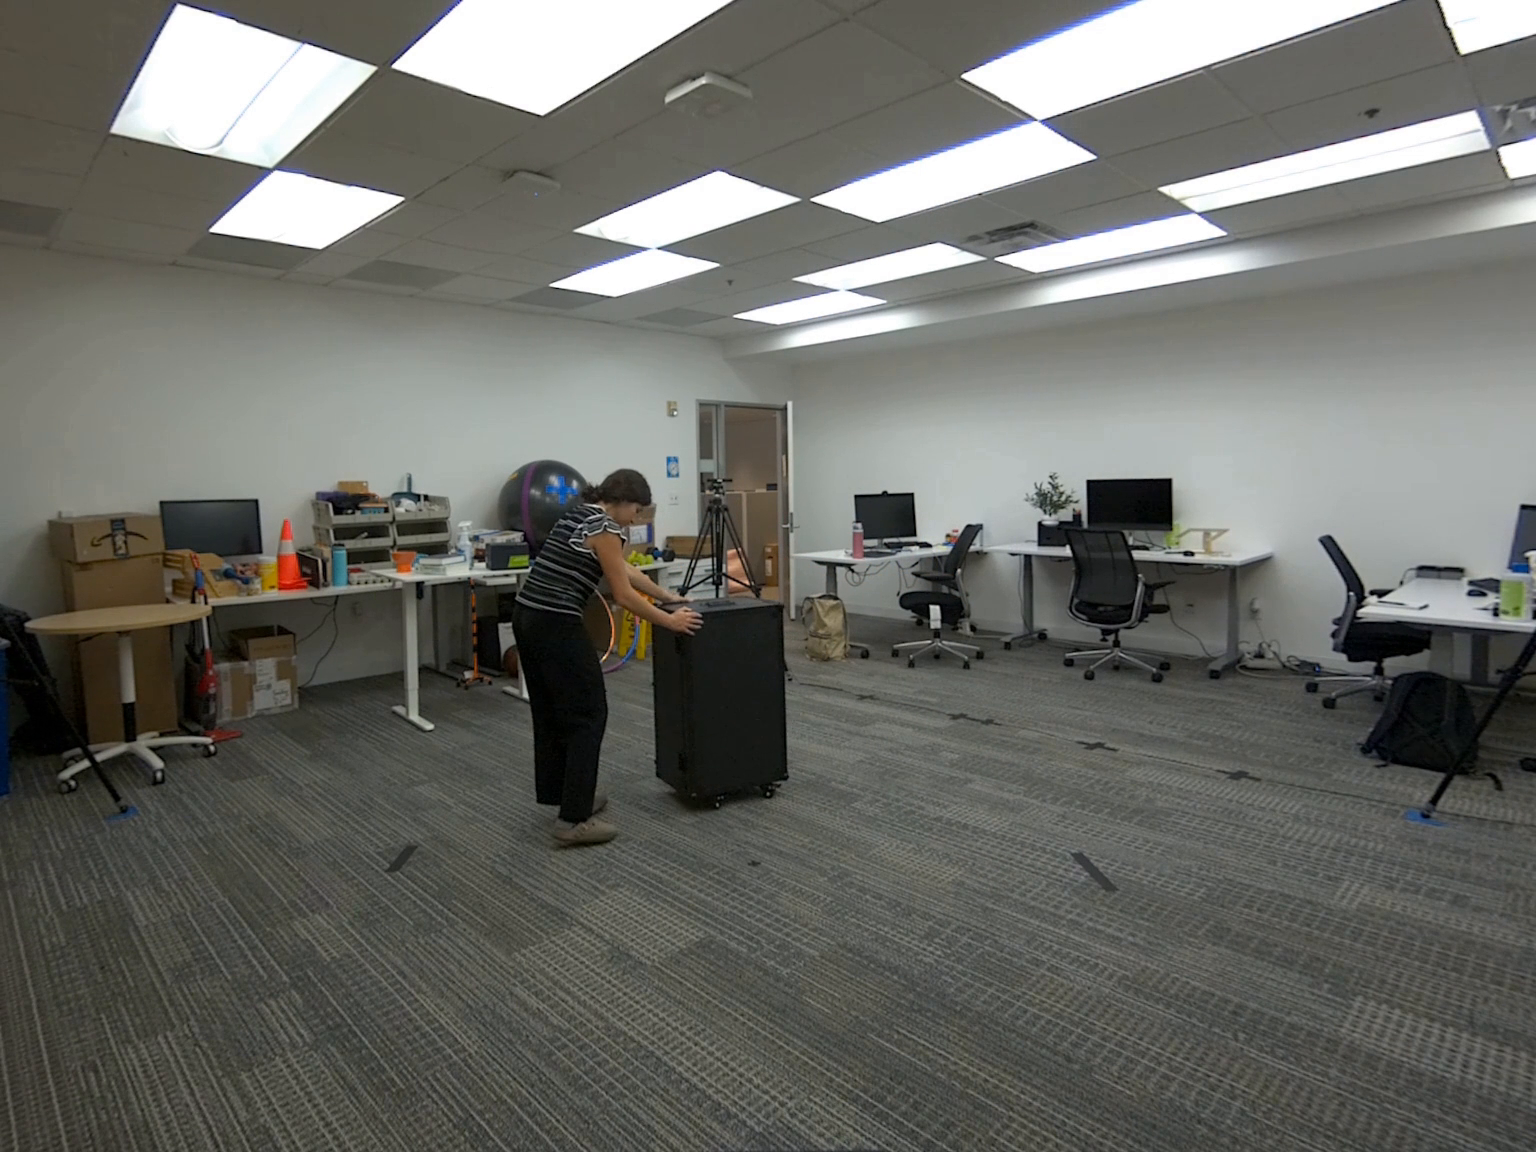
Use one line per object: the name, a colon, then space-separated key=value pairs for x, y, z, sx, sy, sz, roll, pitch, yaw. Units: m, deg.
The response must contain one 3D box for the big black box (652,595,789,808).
big black box: x=-0.228 y=0.550 z=3.793 sx=0.509 sy=0.859 sz=0.406 roll=-4 pitch=3 yaw=-29
